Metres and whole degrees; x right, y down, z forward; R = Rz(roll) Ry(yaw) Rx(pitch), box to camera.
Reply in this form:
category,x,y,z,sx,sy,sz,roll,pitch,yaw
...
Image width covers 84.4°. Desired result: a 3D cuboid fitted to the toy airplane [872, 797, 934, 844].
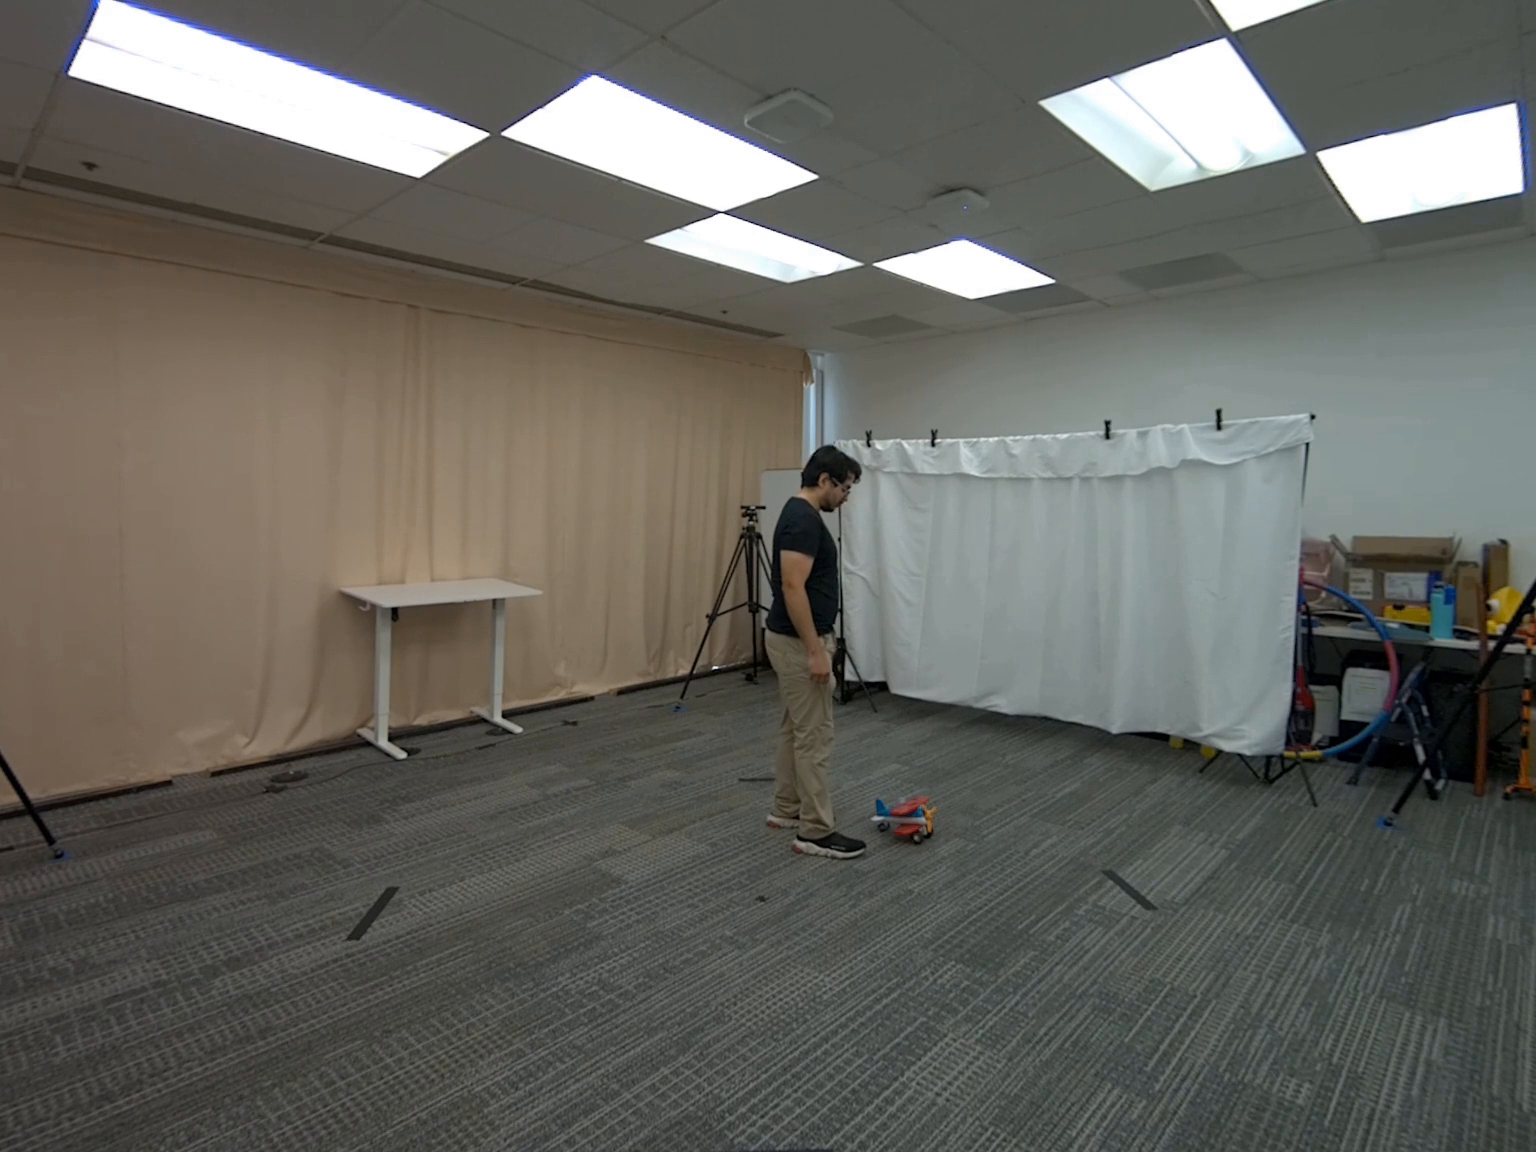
category,x,y,z,sx,sy,sz,roll,pitch,yaw
toy airplane,0.565,1.023,3.531,0.262,0.156,0.249,1,4,10
